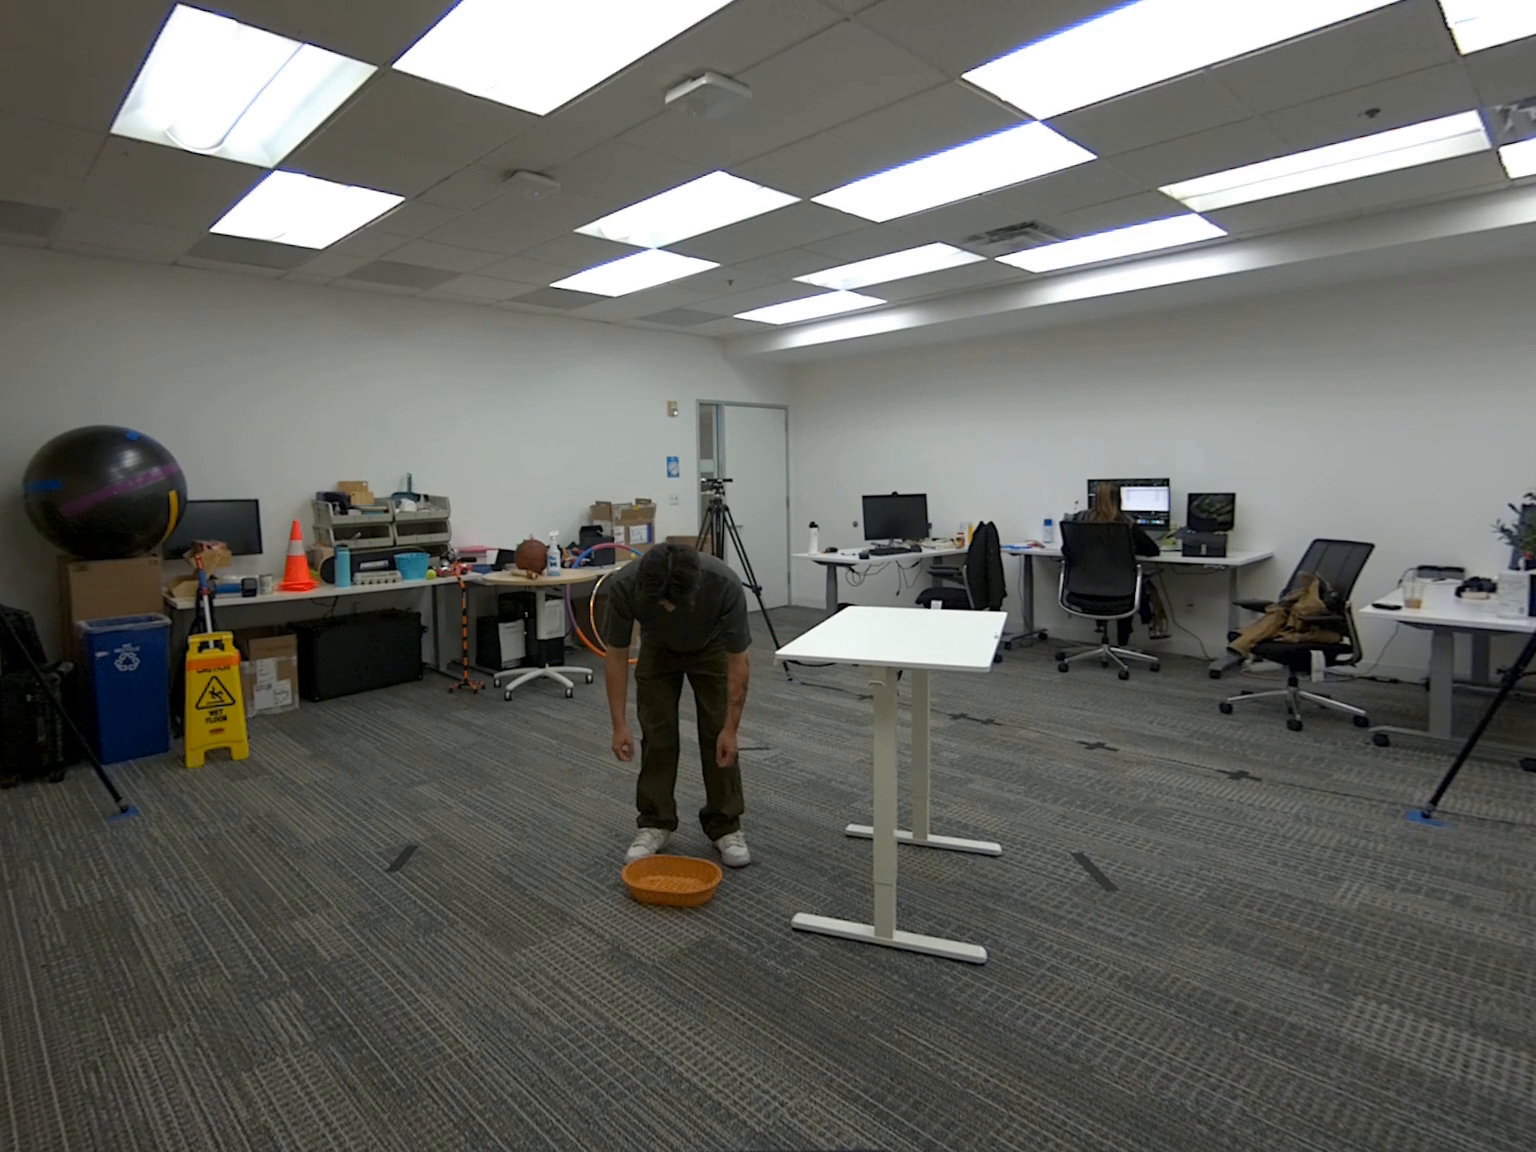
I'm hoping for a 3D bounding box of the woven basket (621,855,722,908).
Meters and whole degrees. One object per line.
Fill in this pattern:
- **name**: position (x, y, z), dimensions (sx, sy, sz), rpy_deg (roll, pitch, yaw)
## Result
- **woven basket**: position (-0.325, 1.041, 2.893), dimensions (0.357, 0.073, 0.249), rpy_deg (1, 7, 18)
